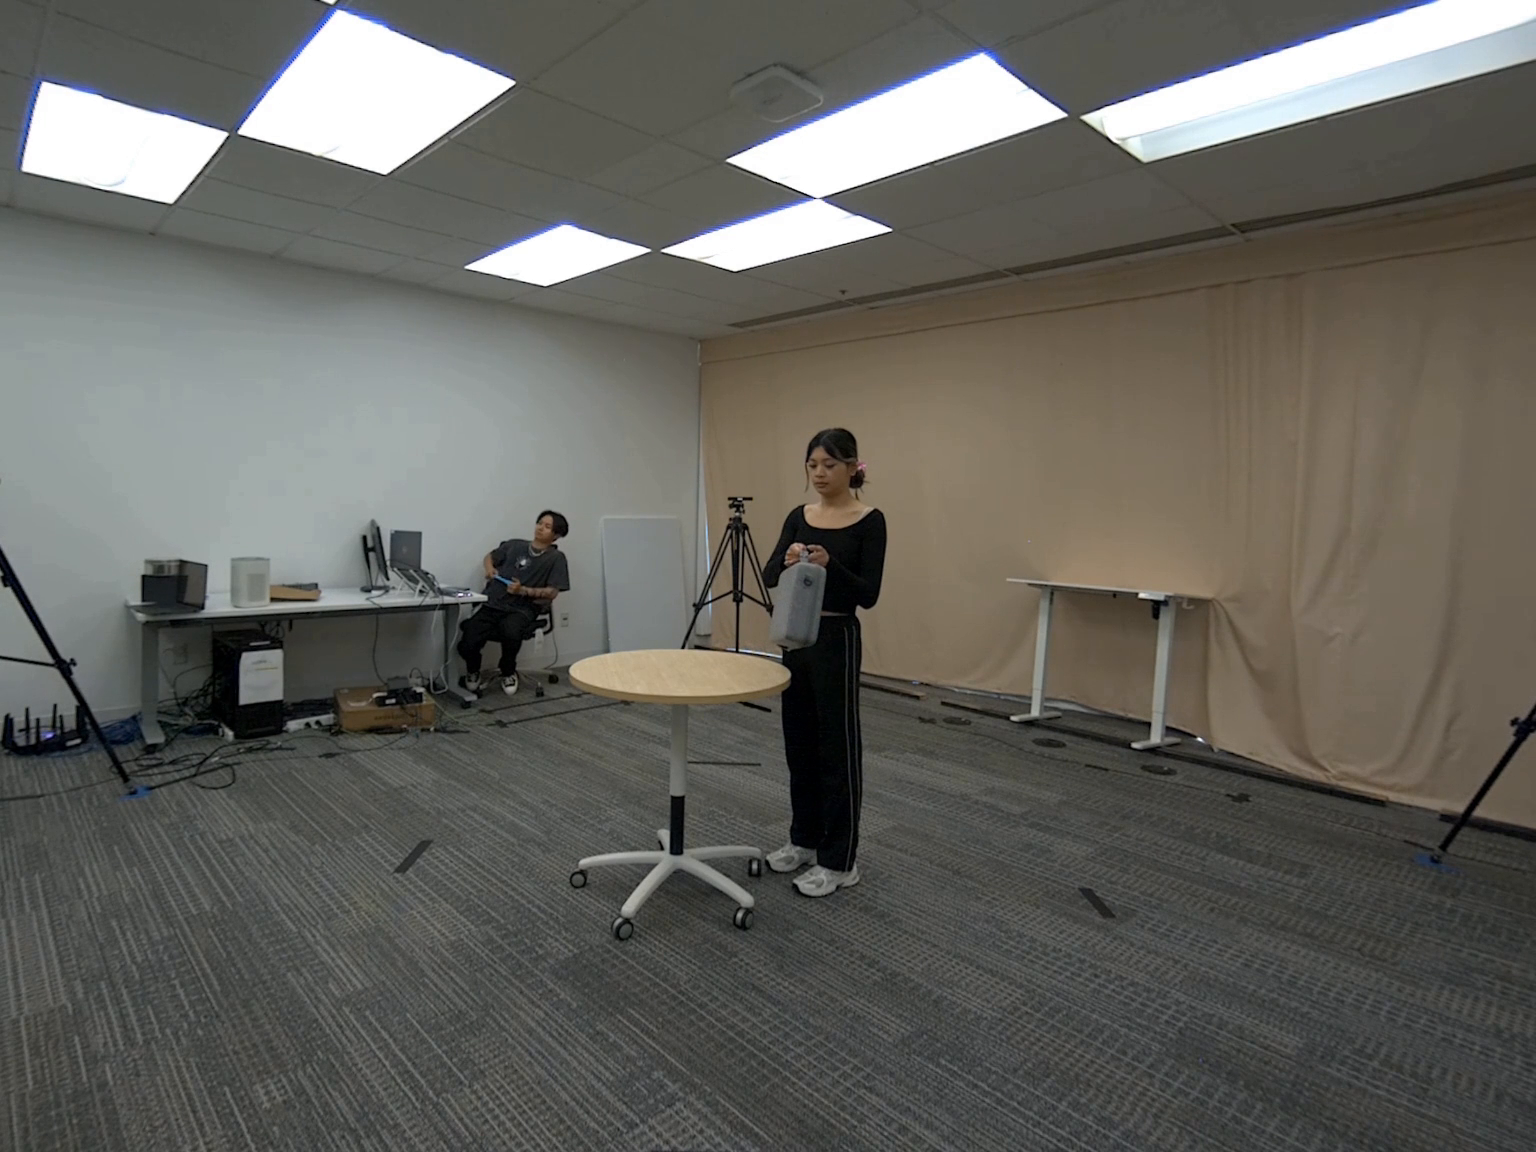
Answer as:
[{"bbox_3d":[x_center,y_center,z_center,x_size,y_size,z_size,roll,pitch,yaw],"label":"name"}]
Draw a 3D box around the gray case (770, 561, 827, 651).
[{"bbox_3d":[0.083,0.098,2.661,0.103,0.262,0.258,12,-11,-12],"label":"gray case"}]
